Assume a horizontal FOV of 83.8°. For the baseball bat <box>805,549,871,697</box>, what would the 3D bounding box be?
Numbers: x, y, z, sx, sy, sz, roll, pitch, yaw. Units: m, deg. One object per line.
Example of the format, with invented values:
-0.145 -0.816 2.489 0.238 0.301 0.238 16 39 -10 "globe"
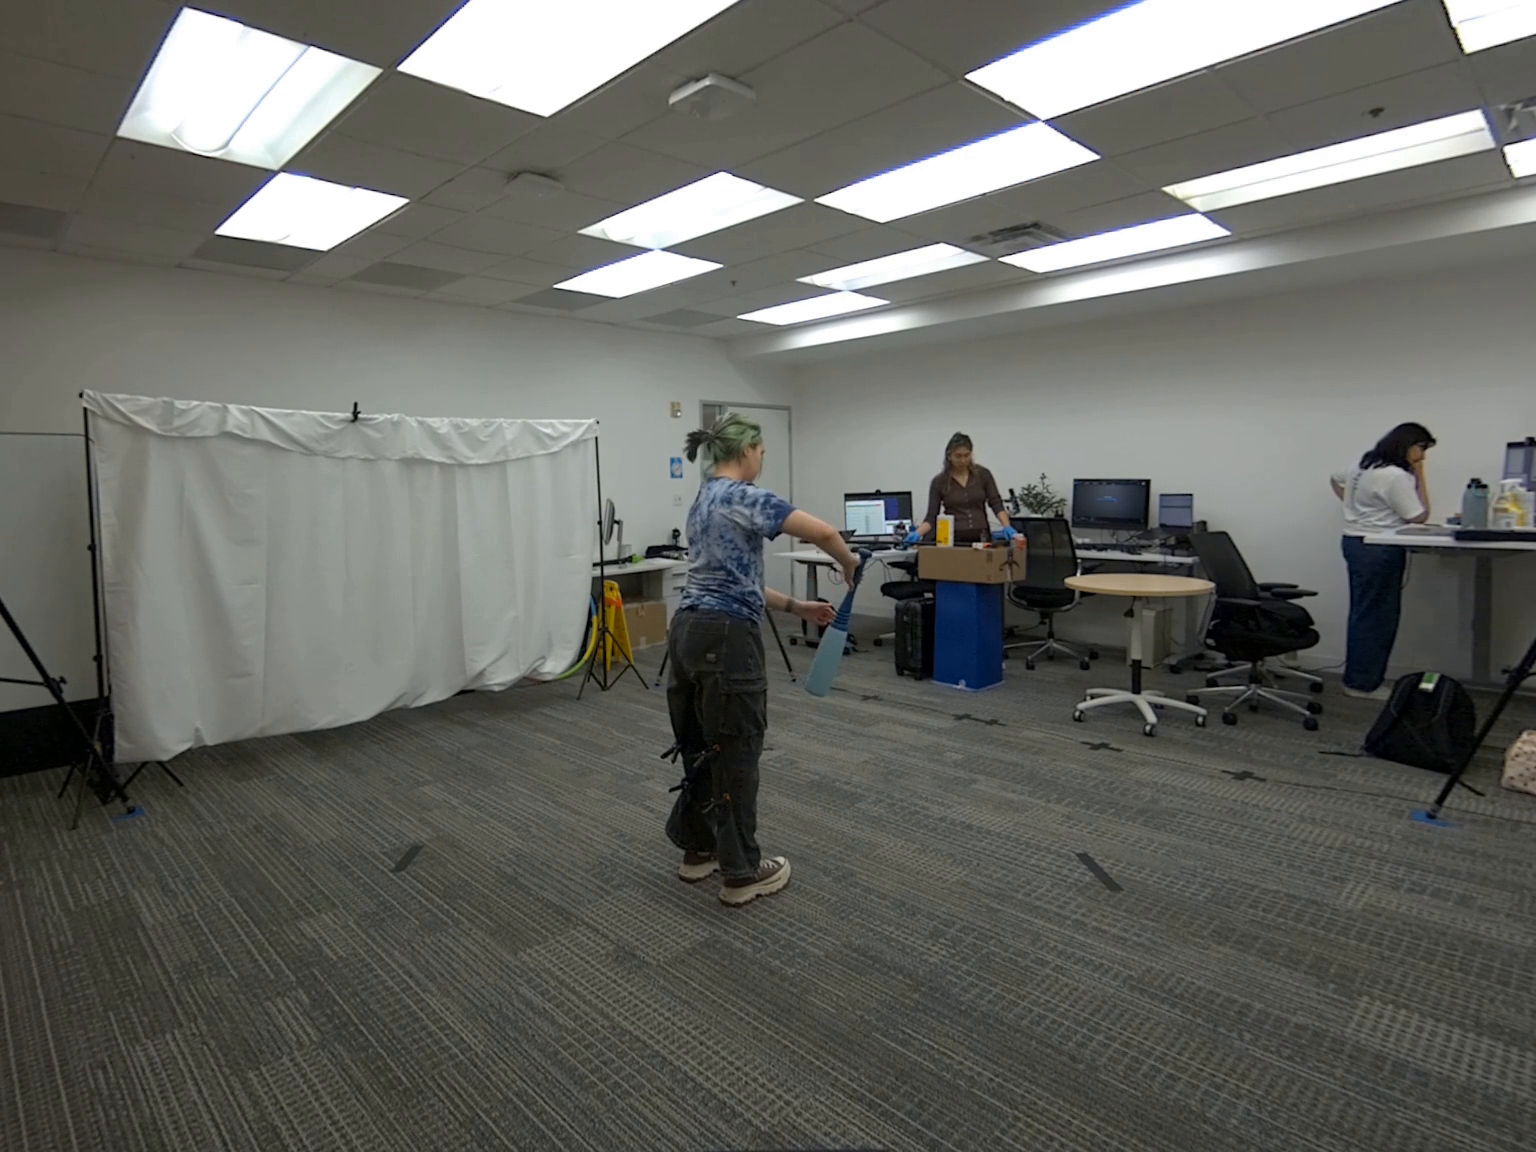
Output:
0.257 0.165 2.989 0.089 0.541 0.090 19 7 -5 "baseball bat"
